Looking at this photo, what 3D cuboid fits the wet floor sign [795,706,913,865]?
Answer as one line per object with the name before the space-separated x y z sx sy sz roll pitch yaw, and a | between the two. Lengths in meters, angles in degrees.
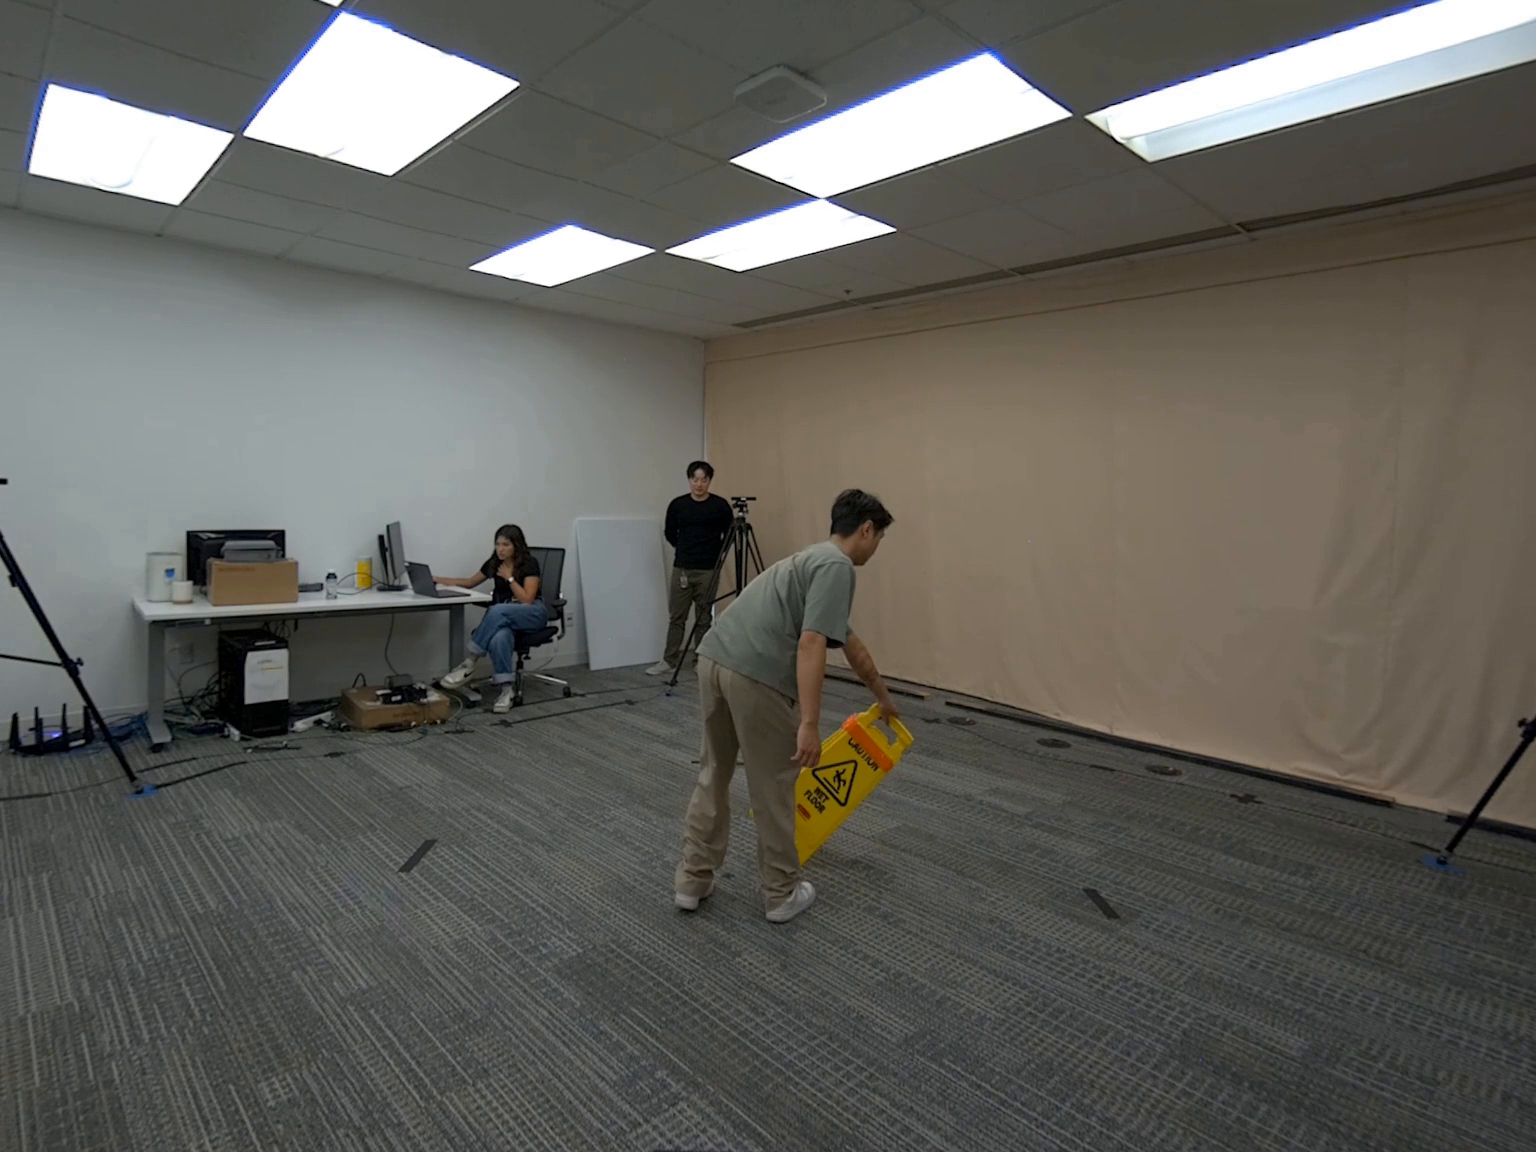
wet floor sign | 0.262 0.773 3.278 0.285 0.646 0.287 45 12 8
